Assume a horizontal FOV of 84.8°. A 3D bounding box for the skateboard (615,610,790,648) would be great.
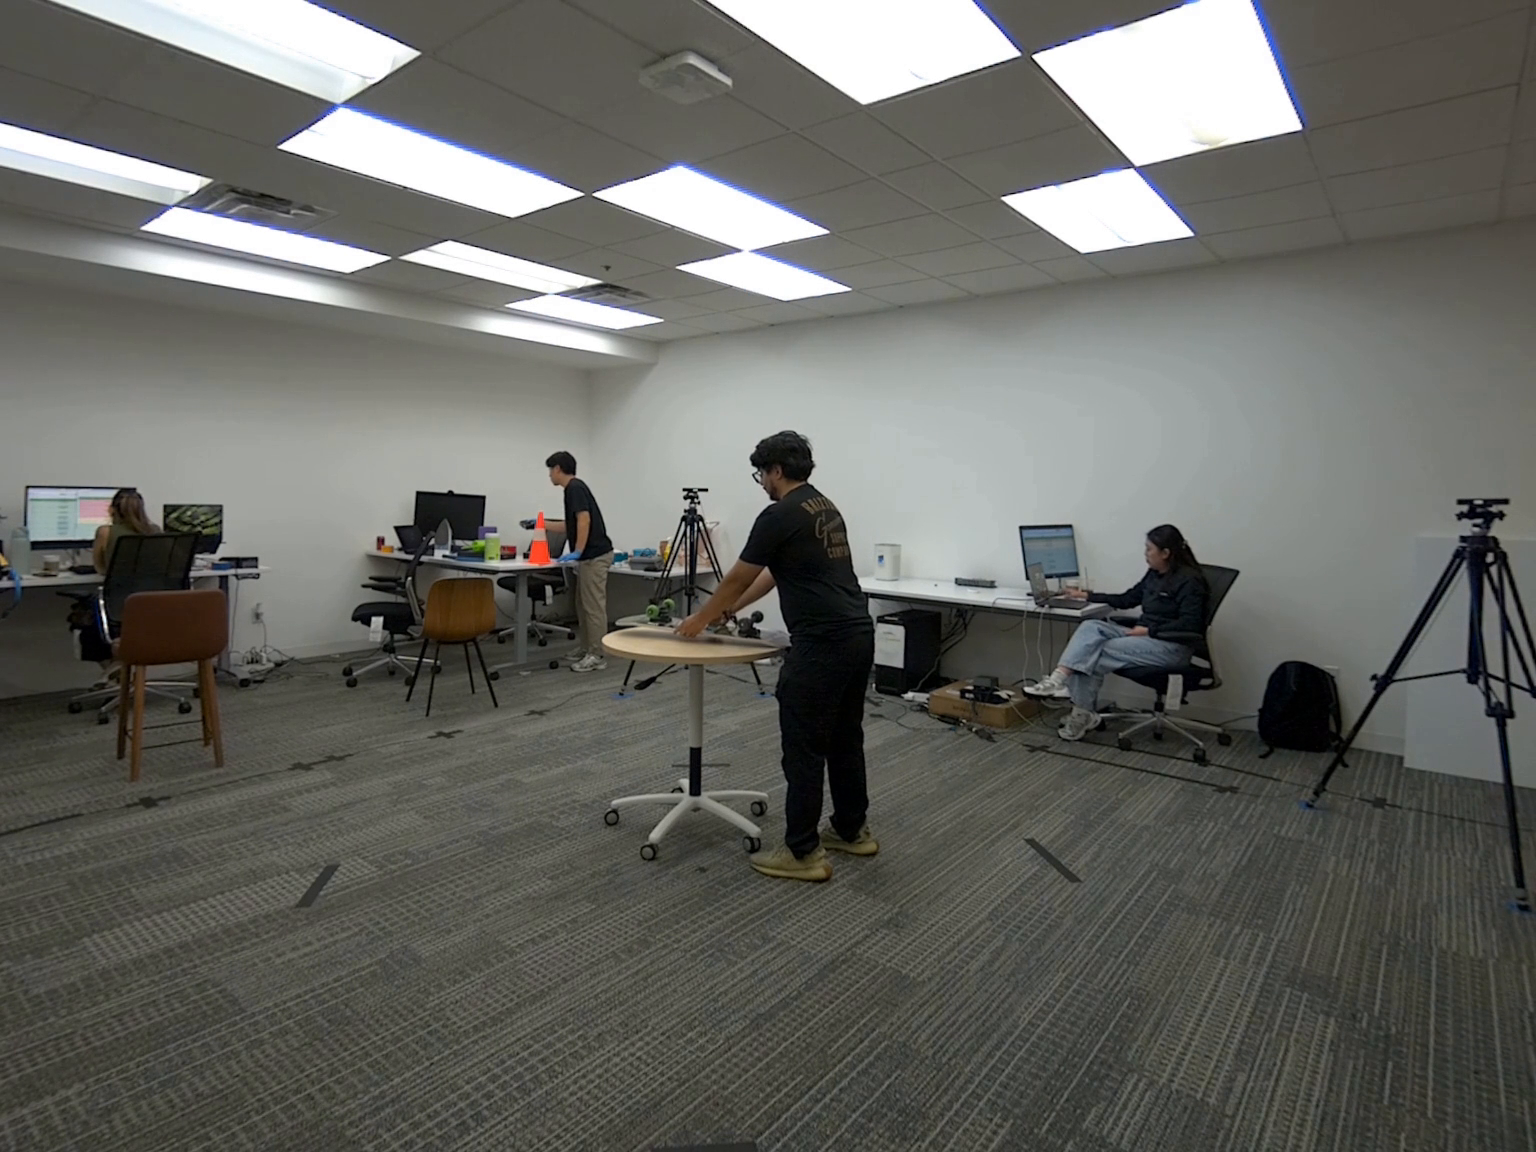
[{"bbox_3d":[-0.274,0.187,3.467,0.806,0.109,0.190,7,11,23],"label":"skateboard"}]
